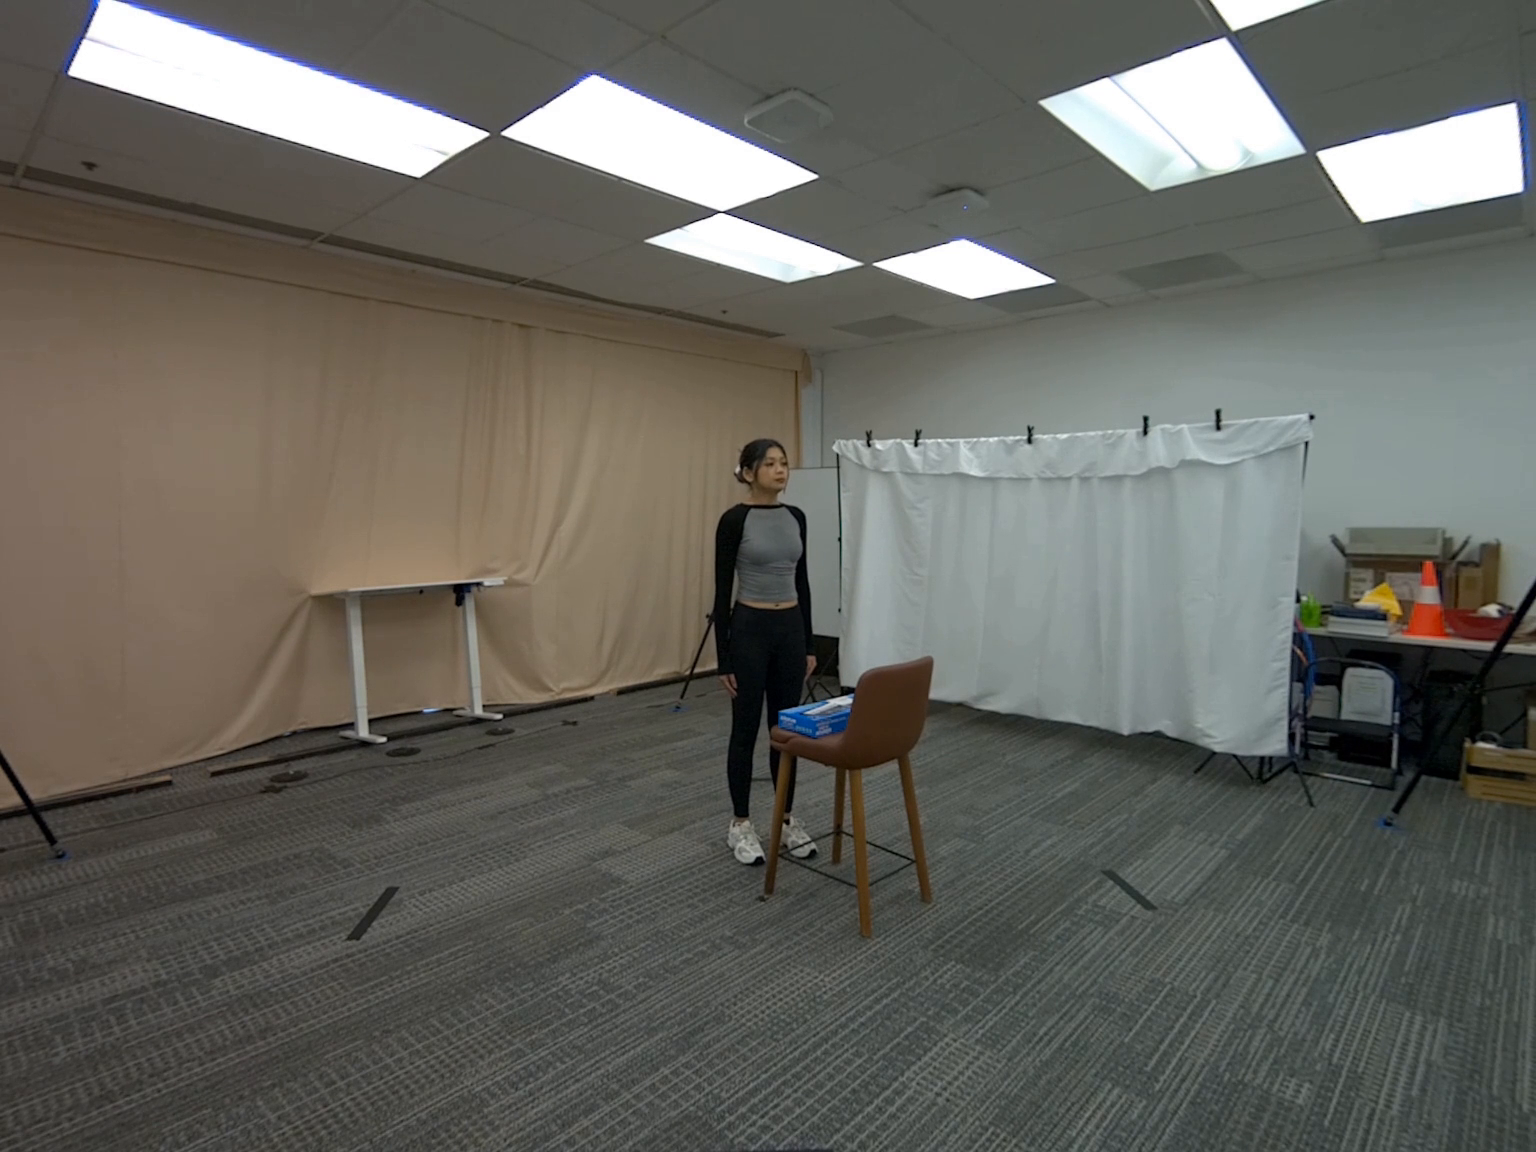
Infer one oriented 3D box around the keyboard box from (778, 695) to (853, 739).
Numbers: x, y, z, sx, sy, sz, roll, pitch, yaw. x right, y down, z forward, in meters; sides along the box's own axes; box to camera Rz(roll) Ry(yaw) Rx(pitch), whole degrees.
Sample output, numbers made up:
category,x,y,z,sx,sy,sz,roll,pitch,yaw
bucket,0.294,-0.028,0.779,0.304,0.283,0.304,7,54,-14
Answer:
category,x,y,z,sx,sy,sz,roll,pitch,yaw
keyboard box,0.252,0.493,3.028,0.423,0.059,0.182,-4,6,-43
